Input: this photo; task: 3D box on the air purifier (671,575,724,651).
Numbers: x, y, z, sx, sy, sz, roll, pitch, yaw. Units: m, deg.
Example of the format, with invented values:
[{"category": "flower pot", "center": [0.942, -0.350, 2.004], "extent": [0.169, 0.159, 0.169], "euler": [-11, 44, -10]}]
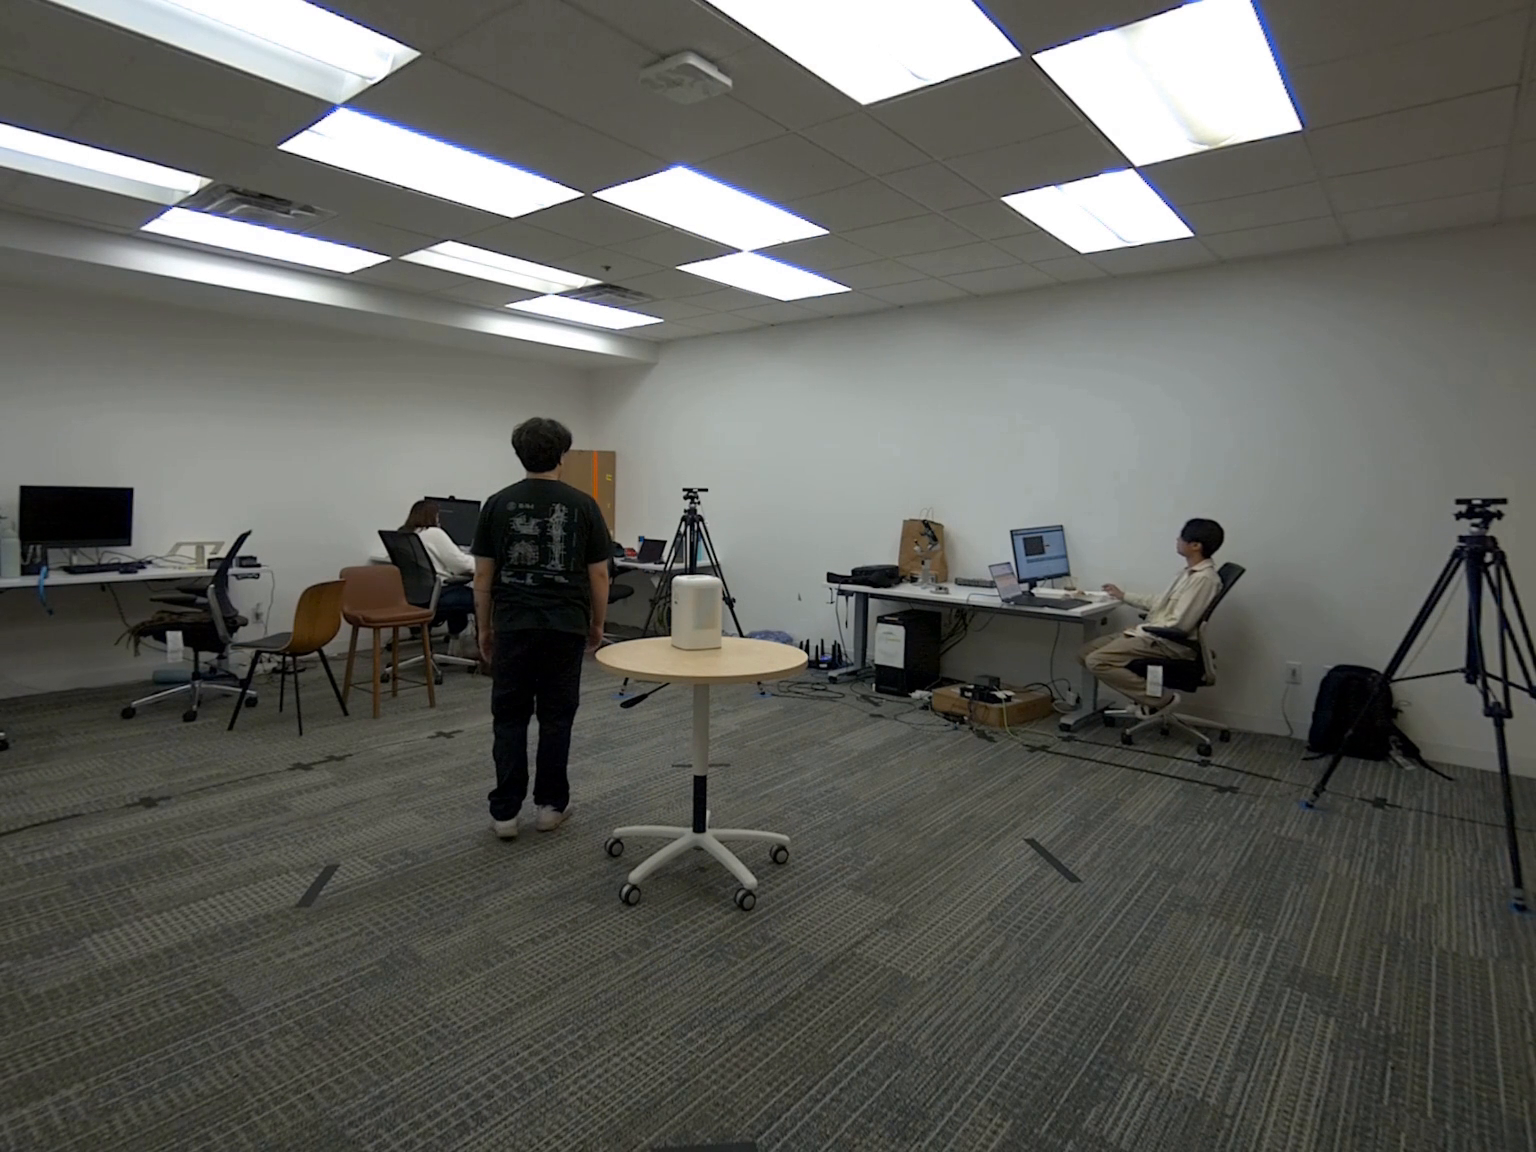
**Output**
[{"category": "air purifier", "center": [-0.282, 0.131, 3.233], "extent": [0.167, 0.265, 0.176], "euler": [-1, 3, -27]}]
